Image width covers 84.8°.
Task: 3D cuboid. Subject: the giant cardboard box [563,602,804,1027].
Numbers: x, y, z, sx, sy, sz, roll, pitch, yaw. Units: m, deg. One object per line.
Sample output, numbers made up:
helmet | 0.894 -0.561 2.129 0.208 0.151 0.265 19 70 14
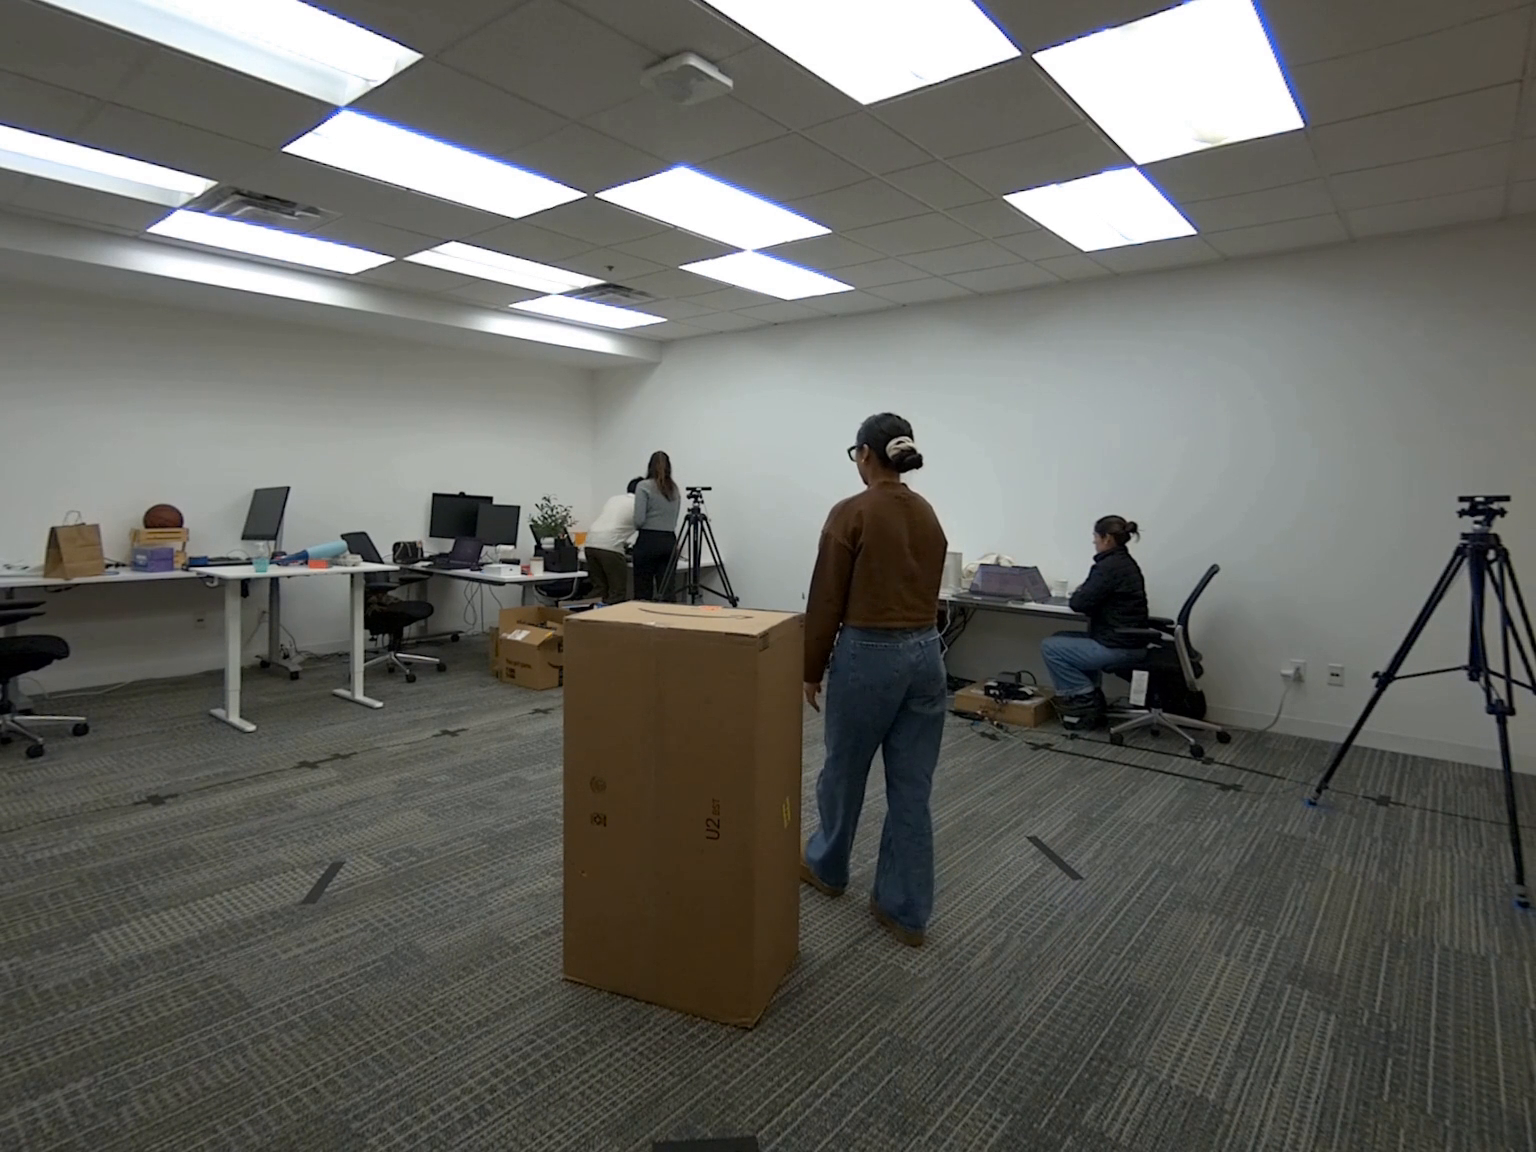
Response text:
giant cardboard box | -0.243 0.622 2.448 0.590 1.023 0.418 2 3 21
